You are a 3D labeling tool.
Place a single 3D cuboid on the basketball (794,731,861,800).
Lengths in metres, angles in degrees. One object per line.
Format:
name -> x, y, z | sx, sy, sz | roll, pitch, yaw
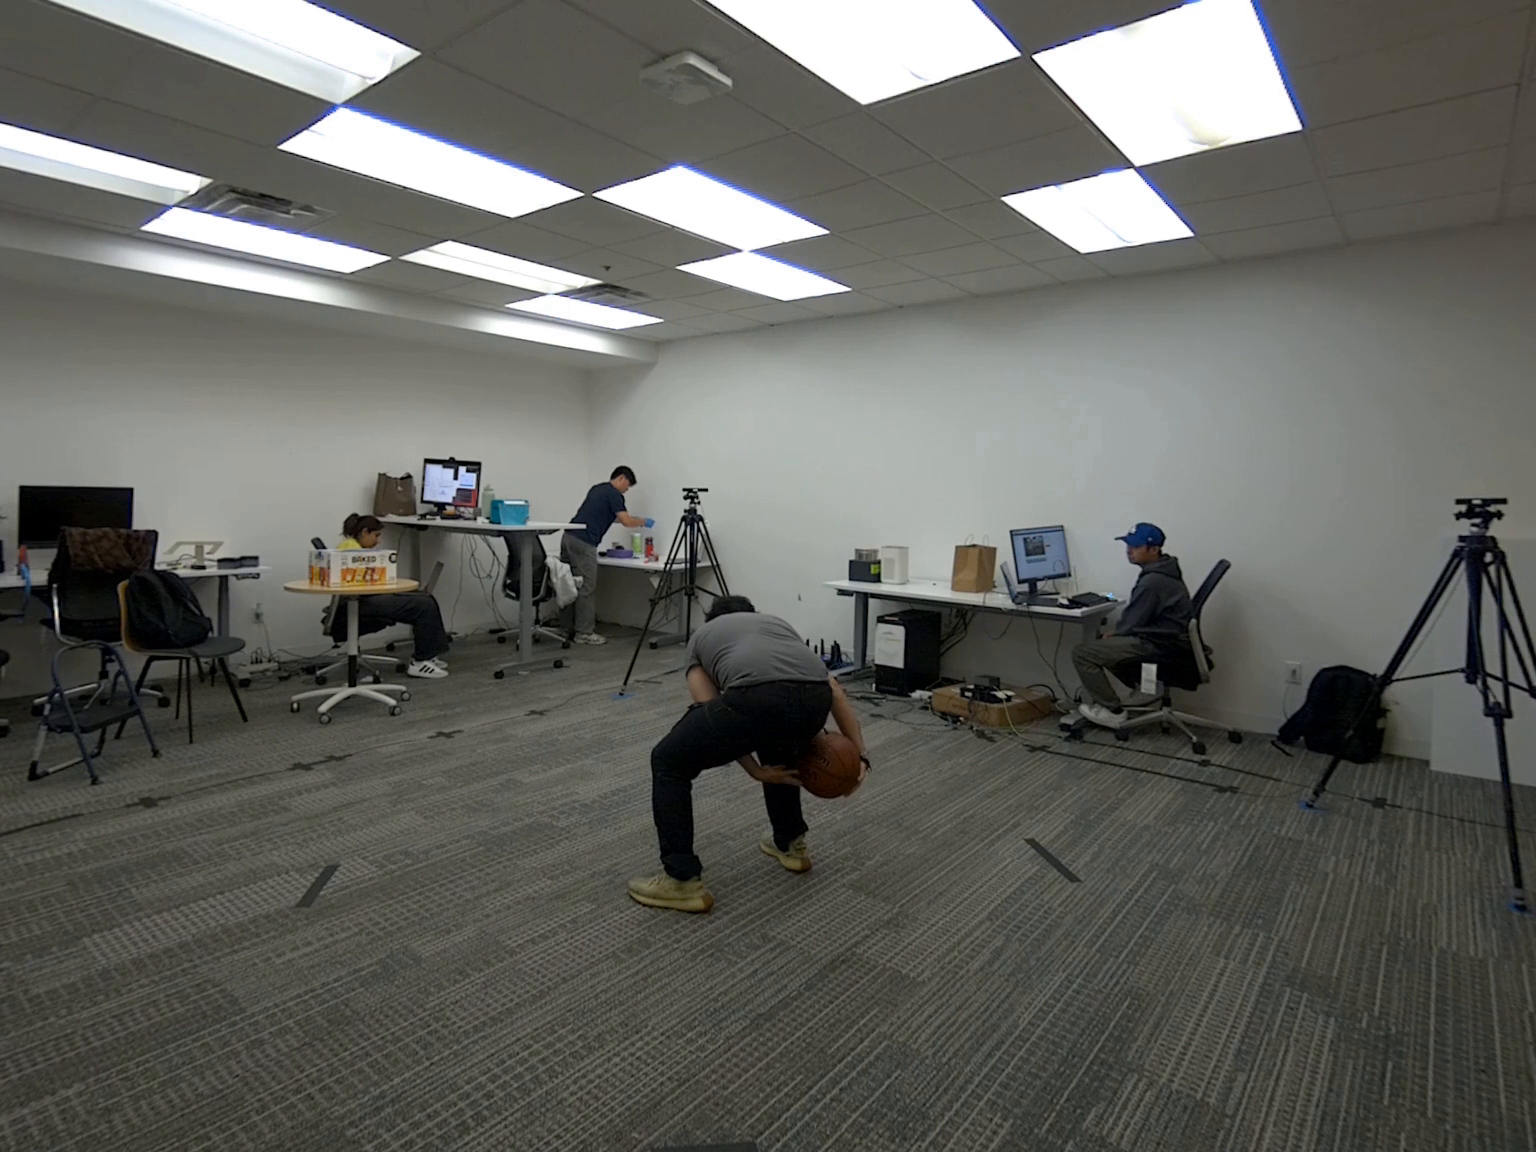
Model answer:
basketball -> 0.199, 0.681, 3.080 | 0.235, 0.235, 0.237 | 1, 4, -2
